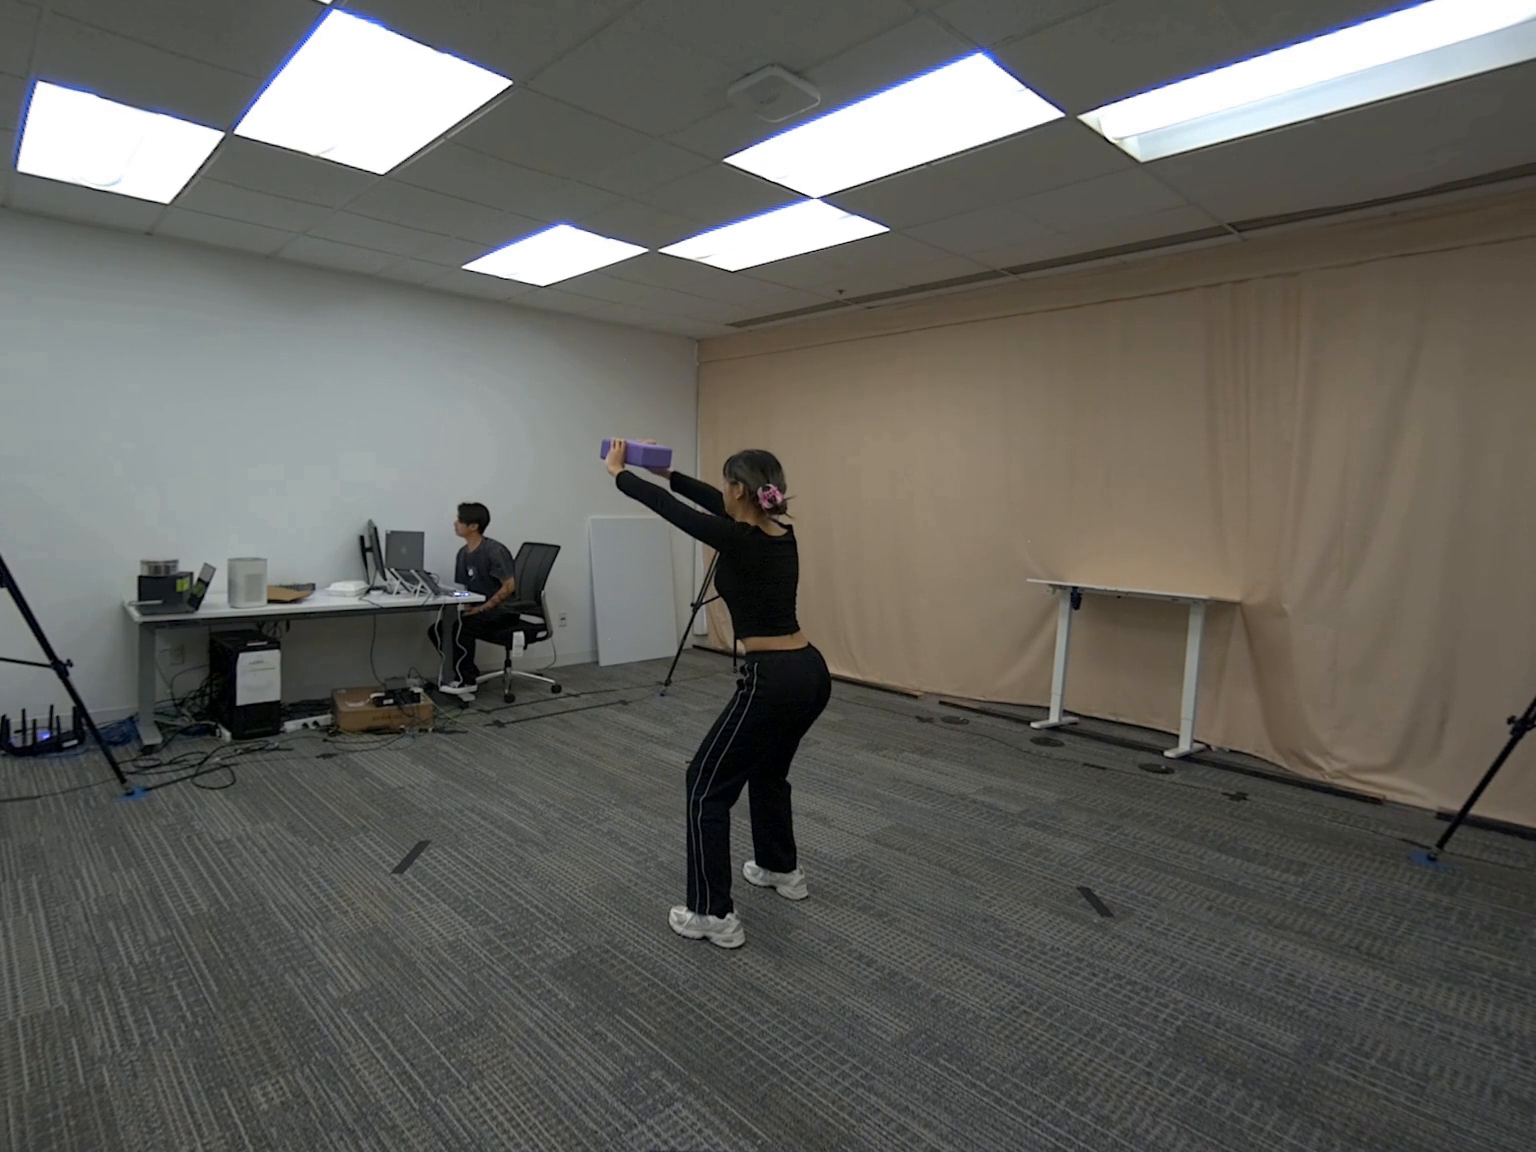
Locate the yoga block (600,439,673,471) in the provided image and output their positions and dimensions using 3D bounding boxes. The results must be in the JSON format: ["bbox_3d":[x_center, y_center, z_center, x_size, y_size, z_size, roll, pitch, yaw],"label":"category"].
[{"bbox_3d":[-0.484,-0.450,3.041,0.235,0.076,0.146,12,11,30],"label":"yoga block"}]
